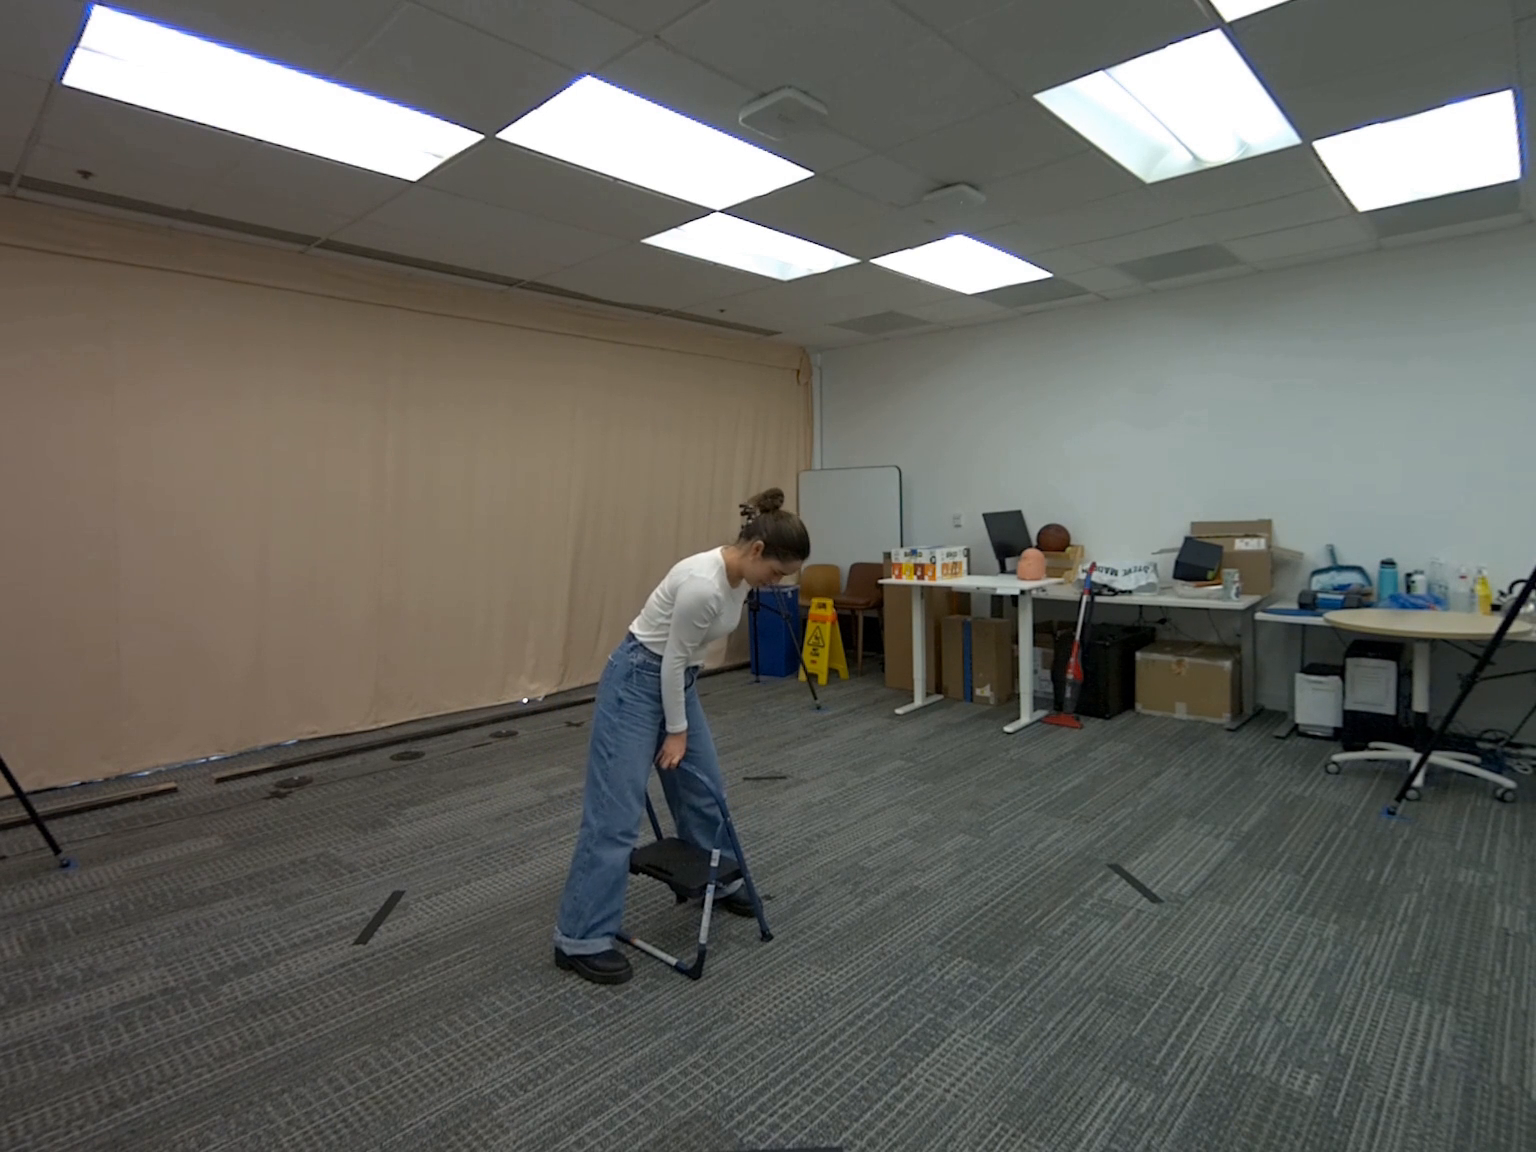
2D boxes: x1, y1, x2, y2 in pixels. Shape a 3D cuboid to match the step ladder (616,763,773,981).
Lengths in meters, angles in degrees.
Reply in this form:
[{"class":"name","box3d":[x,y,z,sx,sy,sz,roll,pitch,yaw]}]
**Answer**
[{"class":"step ladder","box3d":[-0.256,0.868,2.710,0.445,0.605,0.338,2,4,41]}]
